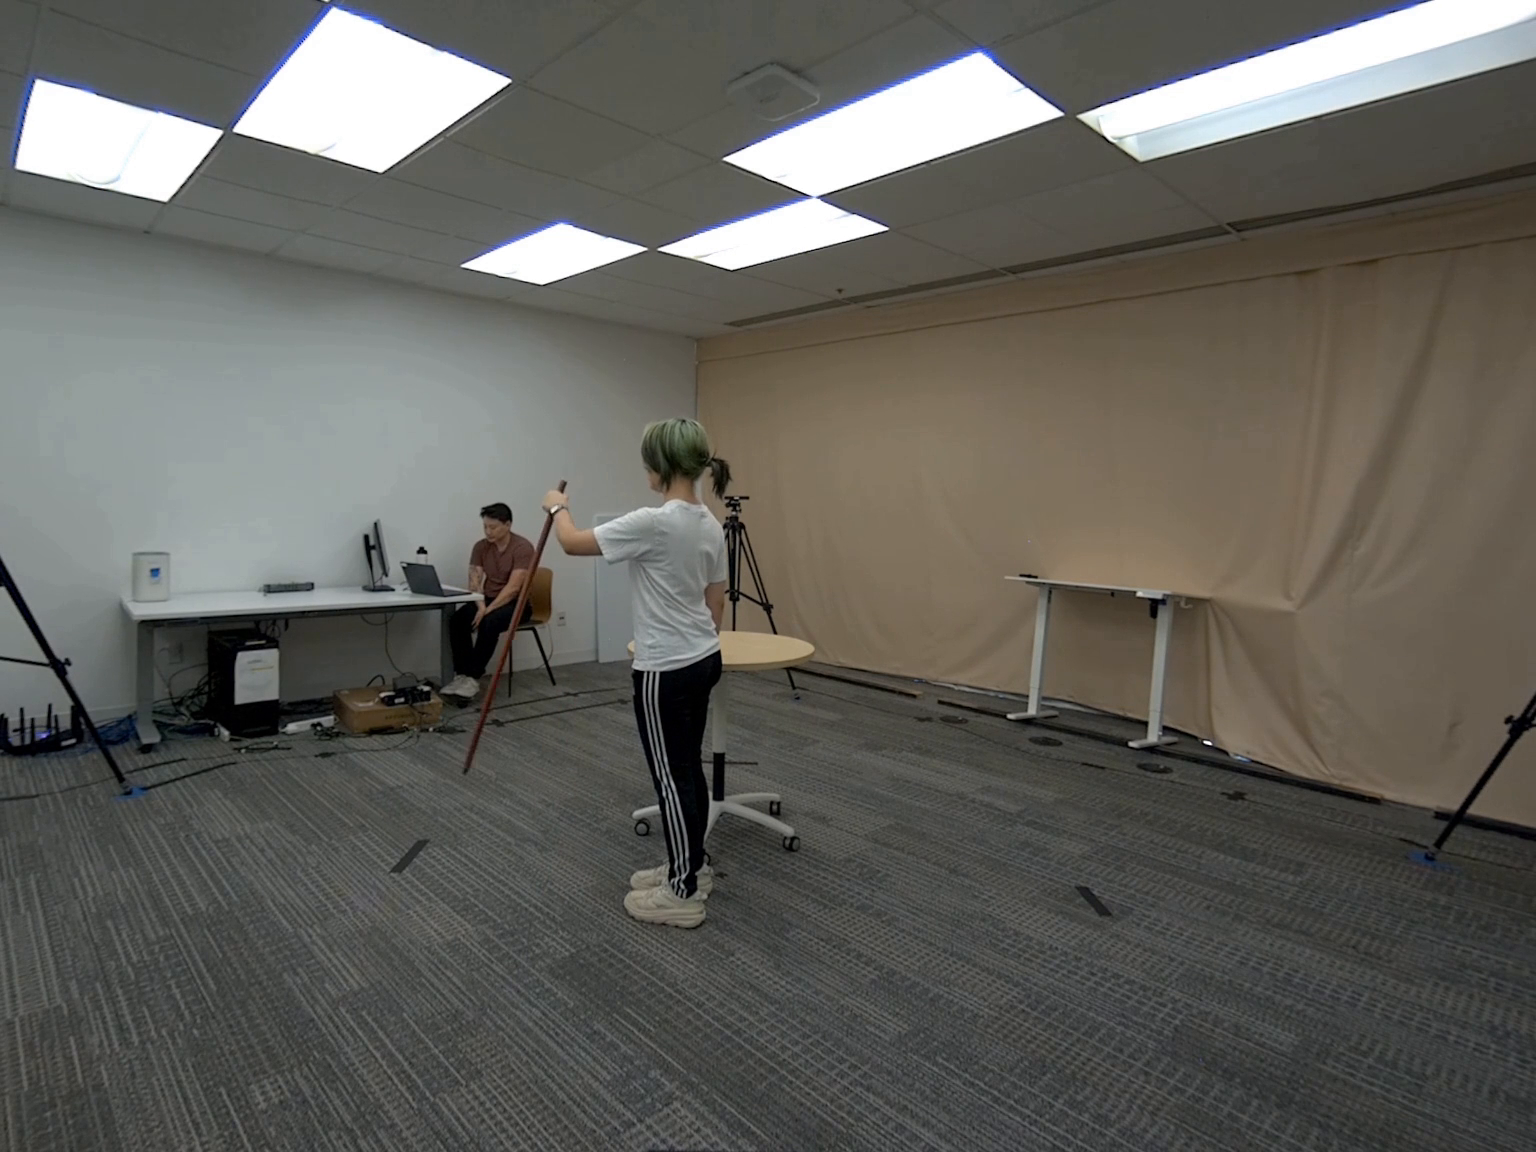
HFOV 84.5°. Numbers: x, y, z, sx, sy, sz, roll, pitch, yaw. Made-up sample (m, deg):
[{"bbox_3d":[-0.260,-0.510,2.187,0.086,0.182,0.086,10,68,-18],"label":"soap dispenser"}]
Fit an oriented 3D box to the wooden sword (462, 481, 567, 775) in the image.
[{"bbox_3d":[-0.834,0.152,2.777,0.024,1.034,0.051,17,-17,-10],"label":"wooden sword"}]
